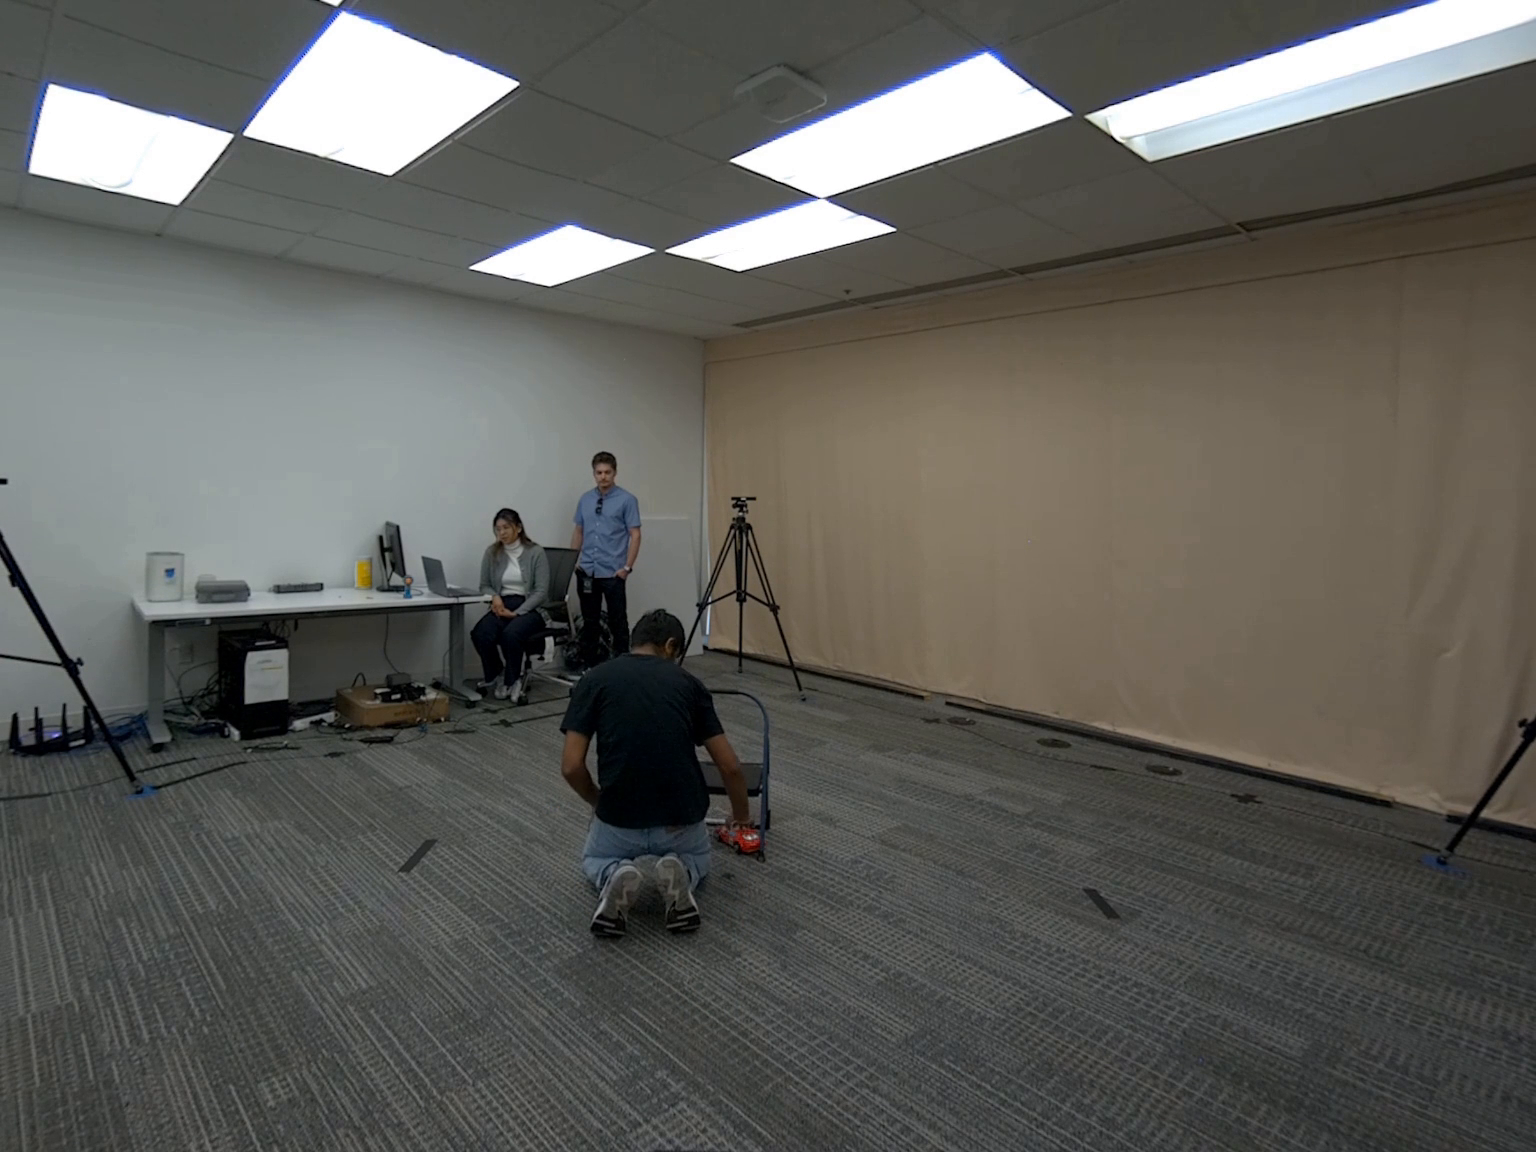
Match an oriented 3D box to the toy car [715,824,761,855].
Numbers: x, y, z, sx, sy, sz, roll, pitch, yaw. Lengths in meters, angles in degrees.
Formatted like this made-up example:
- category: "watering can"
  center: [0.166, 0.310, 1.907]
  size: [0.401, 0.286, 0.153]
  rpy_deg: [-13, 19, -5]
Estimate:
- category: "toy car"
  center: [-0.116, 1.055, 3.366]
  size: [0.127, 0.083, 0.259]
  rpy_deg: [-1, -6, -35]
